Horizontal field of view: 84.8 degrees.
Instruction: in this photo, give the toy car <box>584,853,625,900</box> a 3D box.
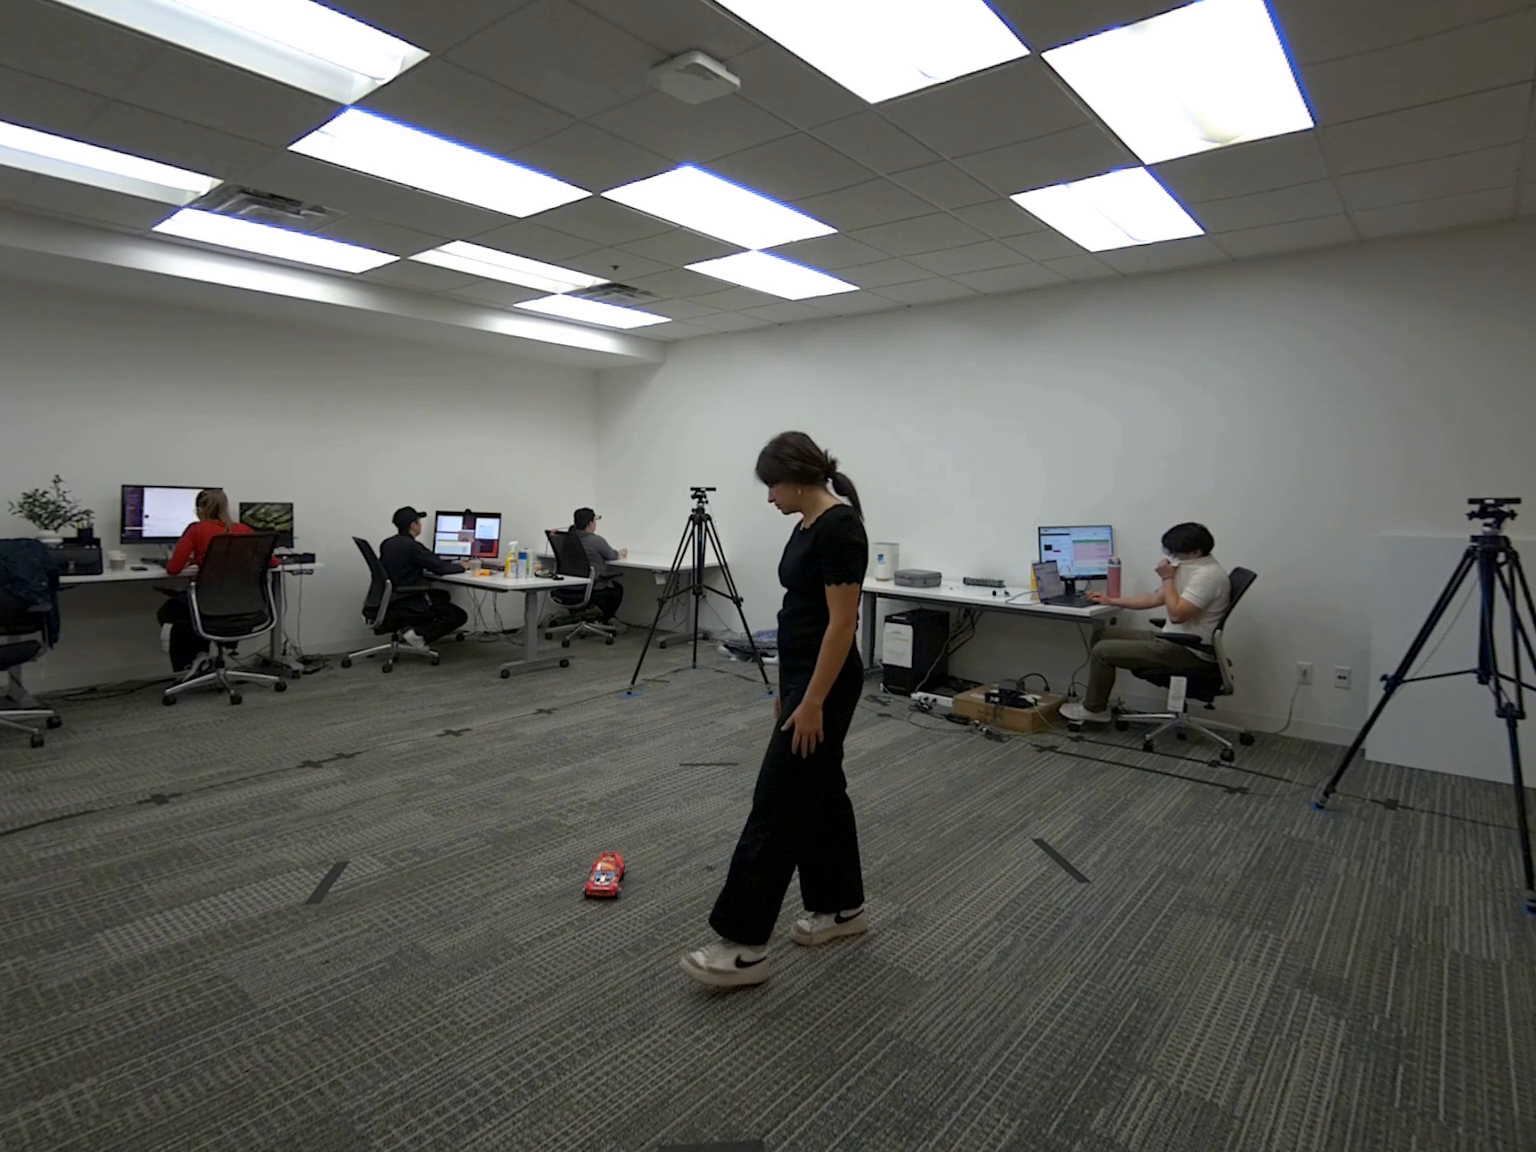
[{"bbox_3d":[-0.576,1.043,2.963,0.130,0.082,0.258,1,17,-2],"label":"toy car"}]
